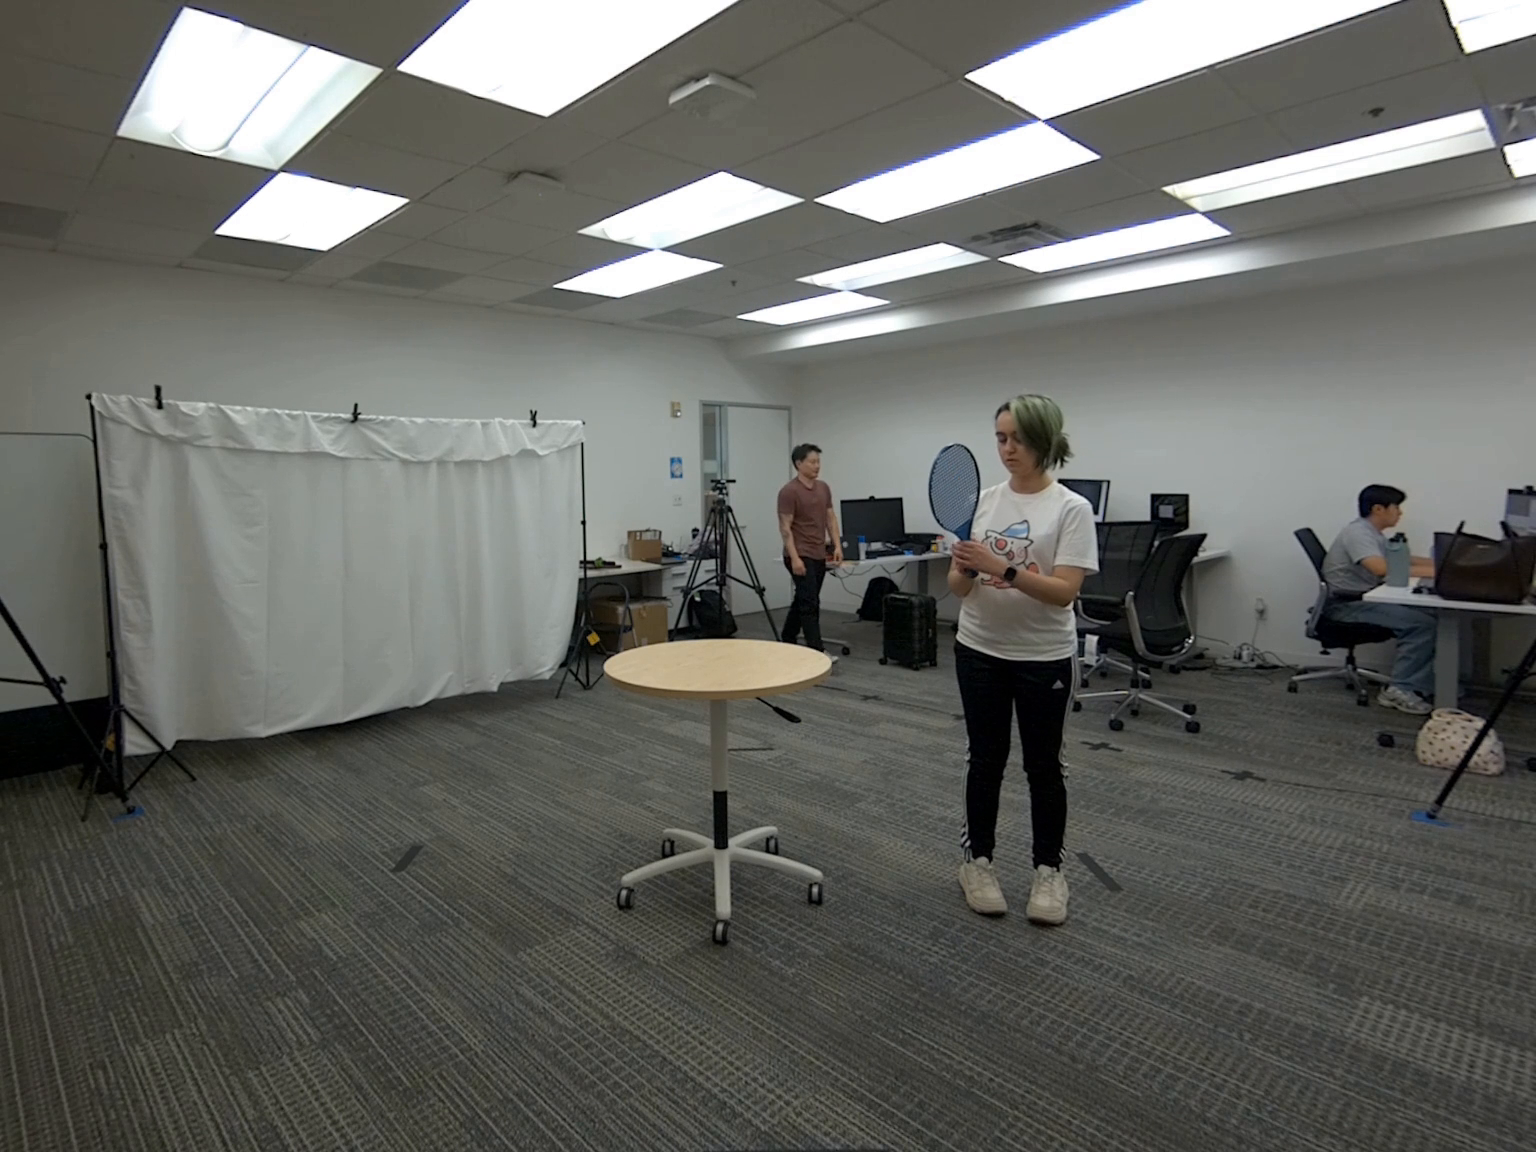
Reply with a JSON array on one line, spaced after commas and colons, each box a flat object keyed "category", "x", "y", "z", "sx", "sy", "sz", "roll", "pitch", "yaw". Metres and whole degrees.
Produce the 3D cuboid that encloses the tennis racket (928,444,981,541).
[{"category": "tennis racket", "x": 0.567, "y": -0.185, "z": 2.488, "sx": 0.212, "sy": 0.420, "sz": 0.033, "roll": -35, "pitch": 32, "yaw": -23}]
